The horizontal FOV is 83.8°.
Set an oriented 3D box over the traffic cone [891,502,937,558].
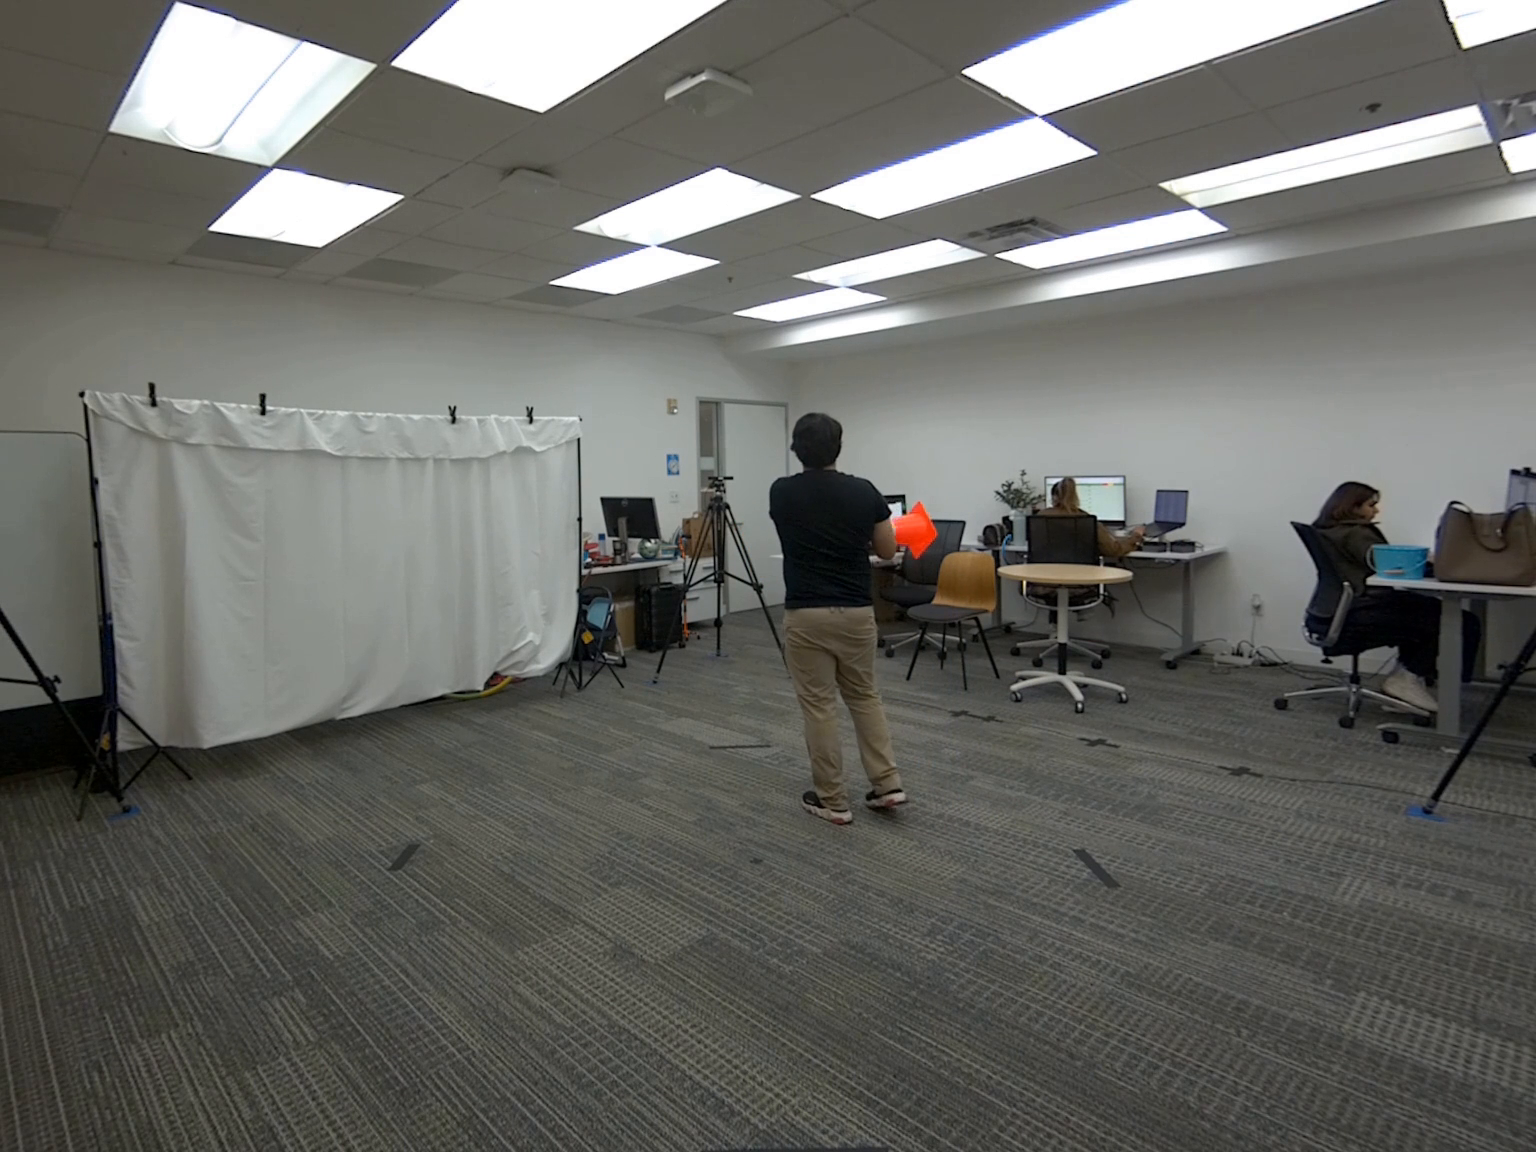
[{"bbox_3d":[0.523,-0.188,3.850,0.376,0.210,0.202,-6,-35,-26],"label":"traffic cone"}]
